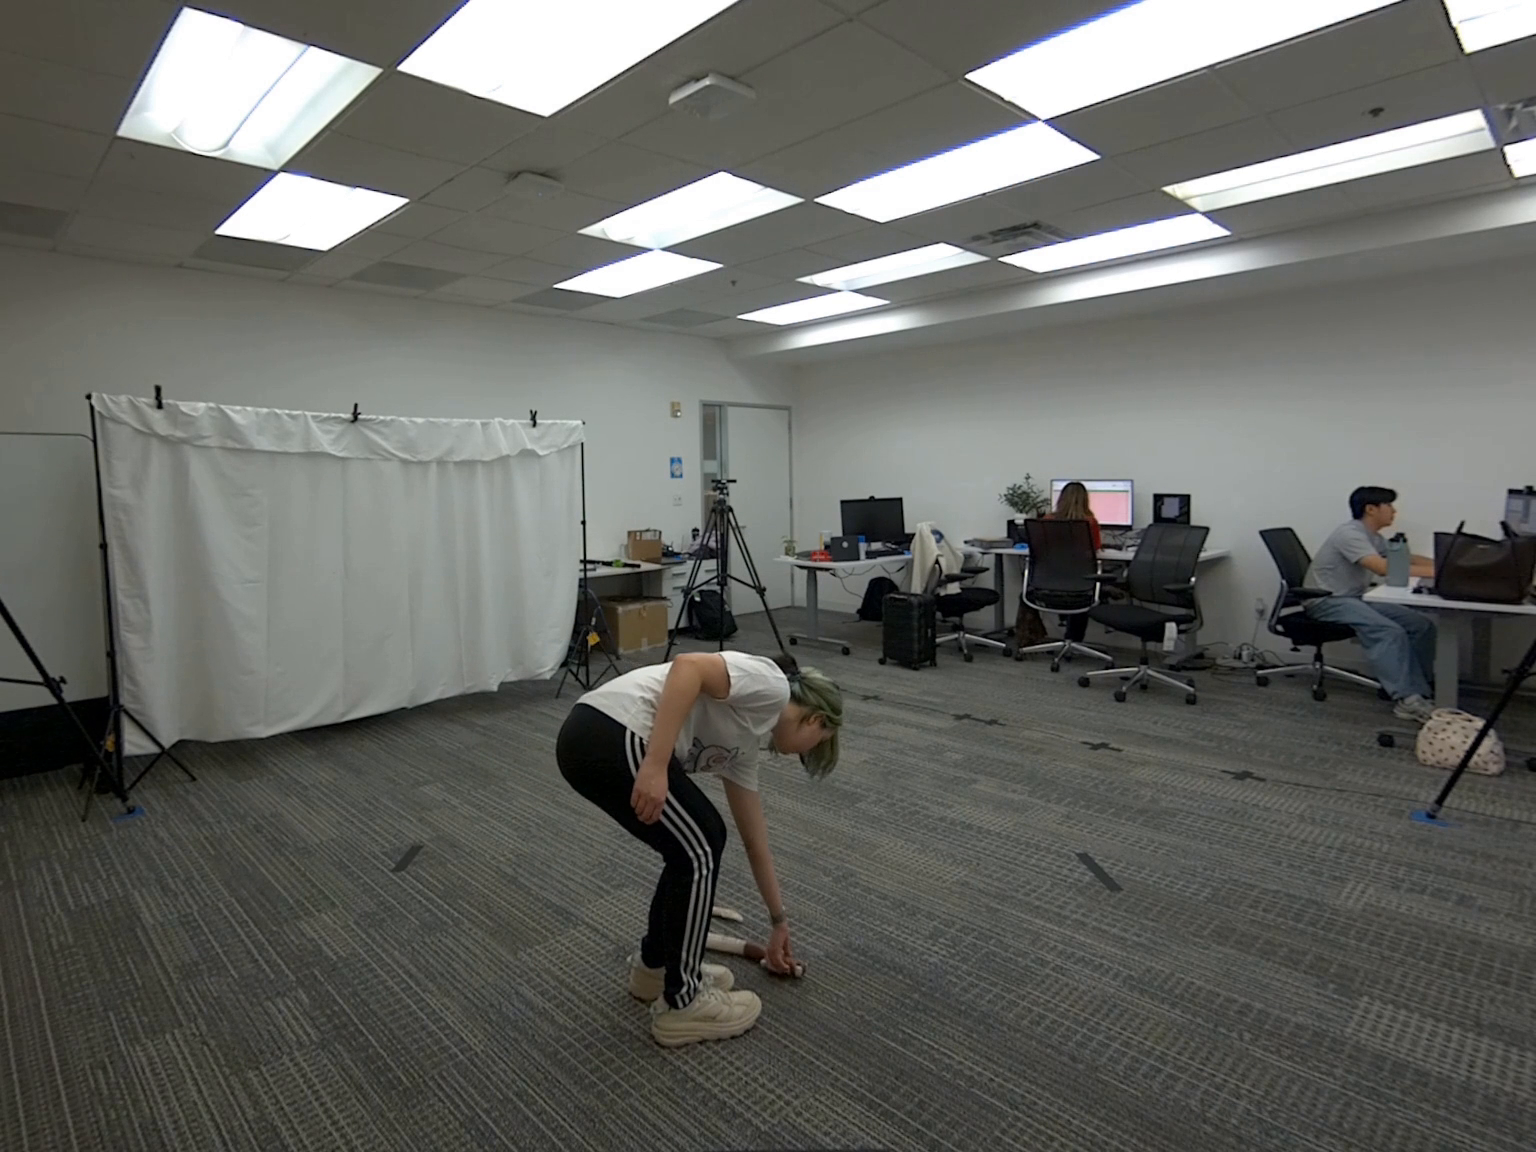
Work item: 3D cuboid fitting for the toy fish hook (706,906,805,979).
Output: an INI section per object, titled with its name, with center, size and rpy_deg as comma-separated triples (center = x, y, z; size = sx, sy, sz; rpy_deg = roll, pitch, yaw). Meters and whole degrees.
[toy fish hook]
center = -0.077, 1.087, 2.577
size = 0.521, 0.048, 0.219
rpy_deg = 4, 10, 36
